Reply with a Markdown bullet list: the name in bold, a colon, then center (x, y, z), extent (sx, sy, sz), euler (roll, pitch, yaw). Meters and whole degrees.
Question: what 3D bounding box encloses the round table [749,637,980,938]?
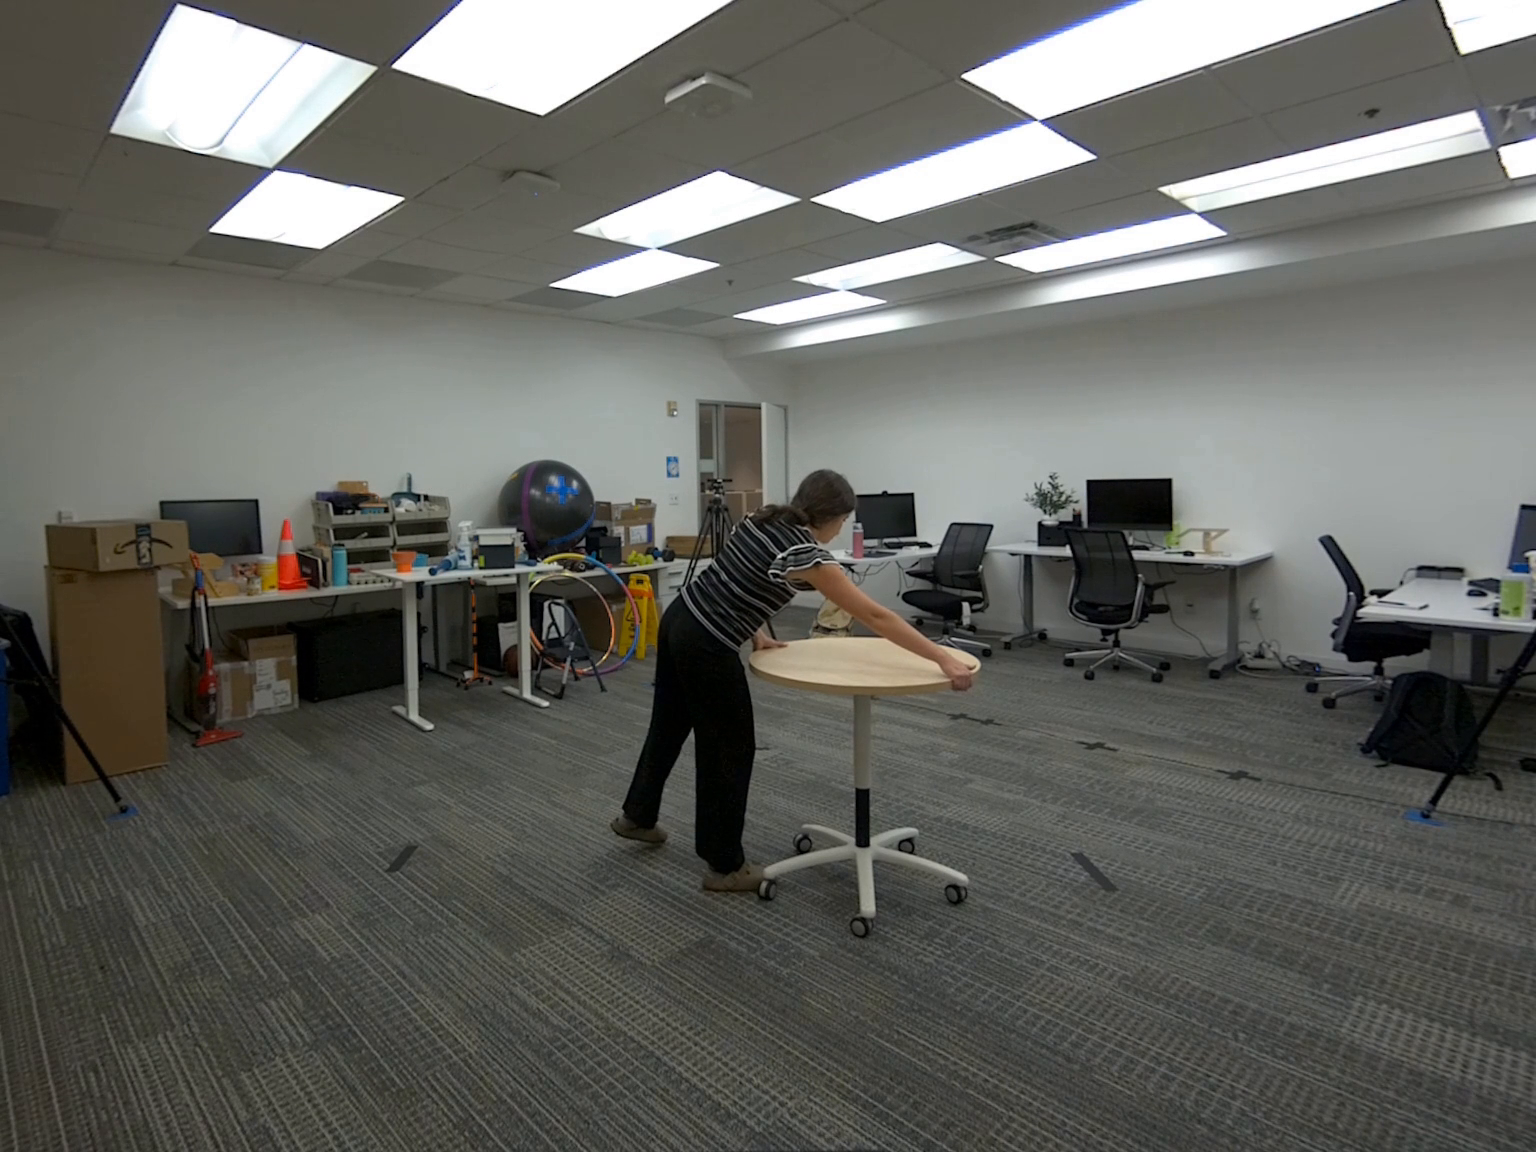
- **round table**: center (0.316, 0.670, 2.899), extent (0.763, 0.791, 0.768), euler (-1, 5, -2)
